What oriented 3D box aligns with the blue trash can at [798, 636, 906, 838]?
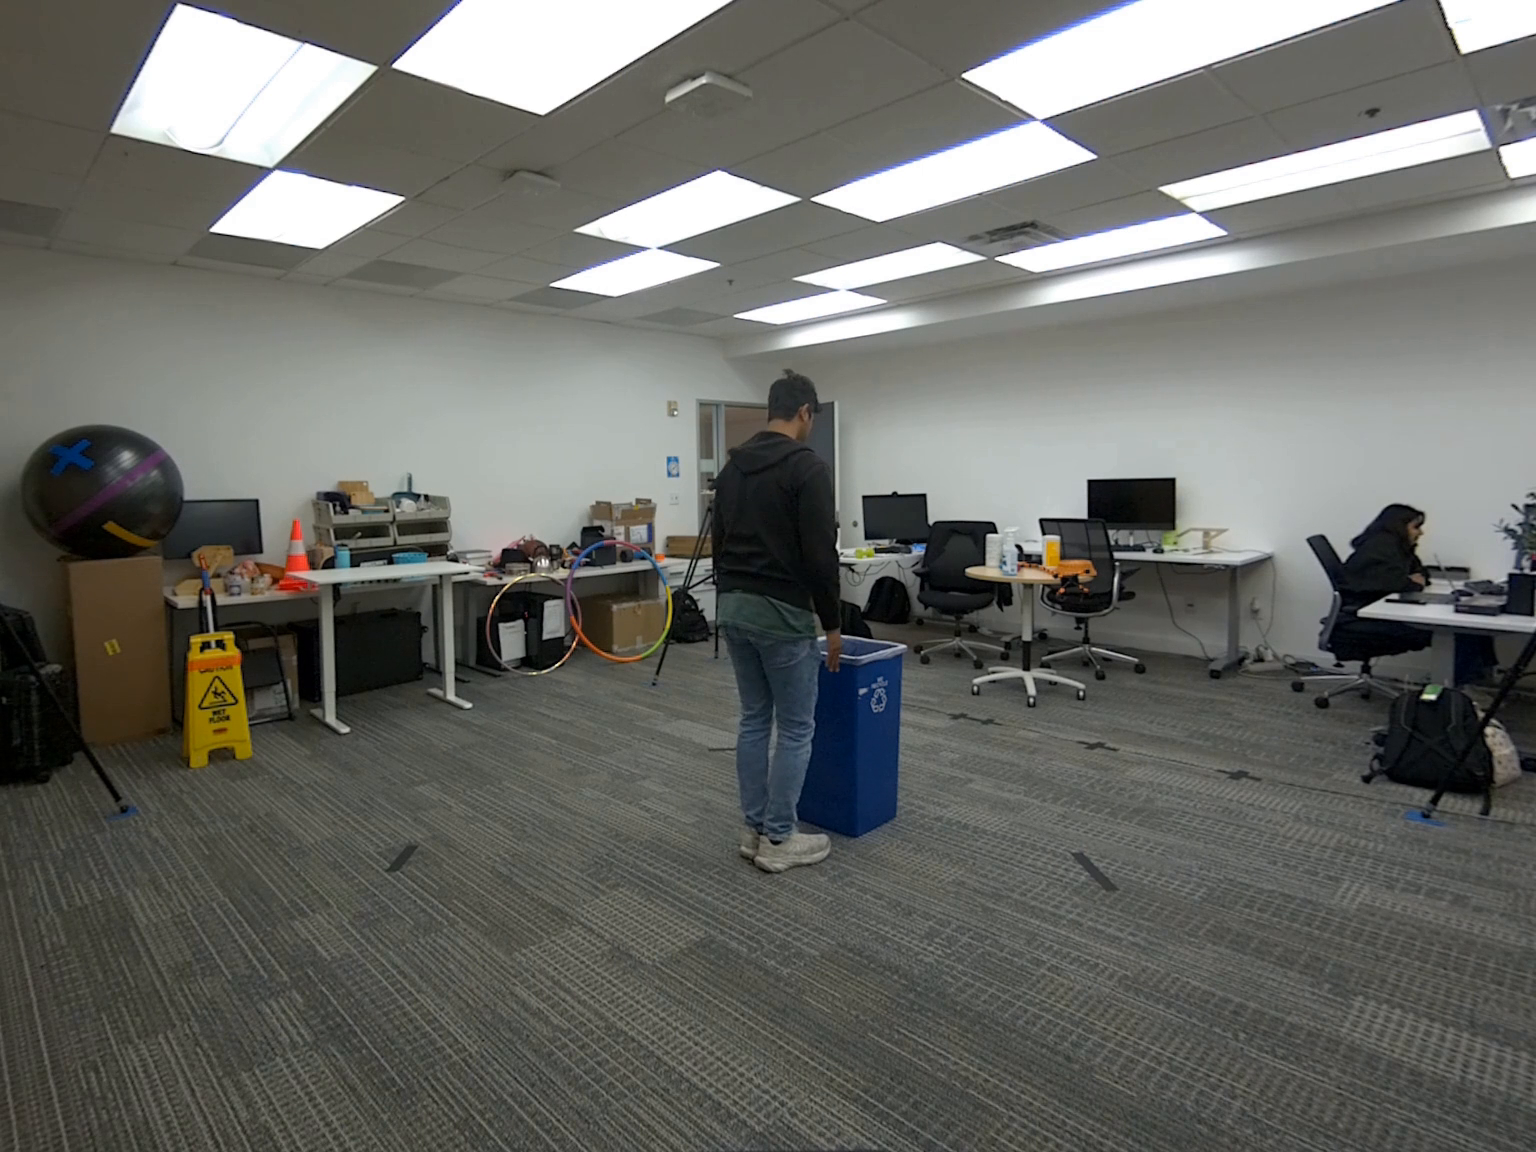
[{"bbox_3d":[0.327,0.637,3.502,0.390,0.711,0.364,3,6,42],"label":"blue trash can"}]
